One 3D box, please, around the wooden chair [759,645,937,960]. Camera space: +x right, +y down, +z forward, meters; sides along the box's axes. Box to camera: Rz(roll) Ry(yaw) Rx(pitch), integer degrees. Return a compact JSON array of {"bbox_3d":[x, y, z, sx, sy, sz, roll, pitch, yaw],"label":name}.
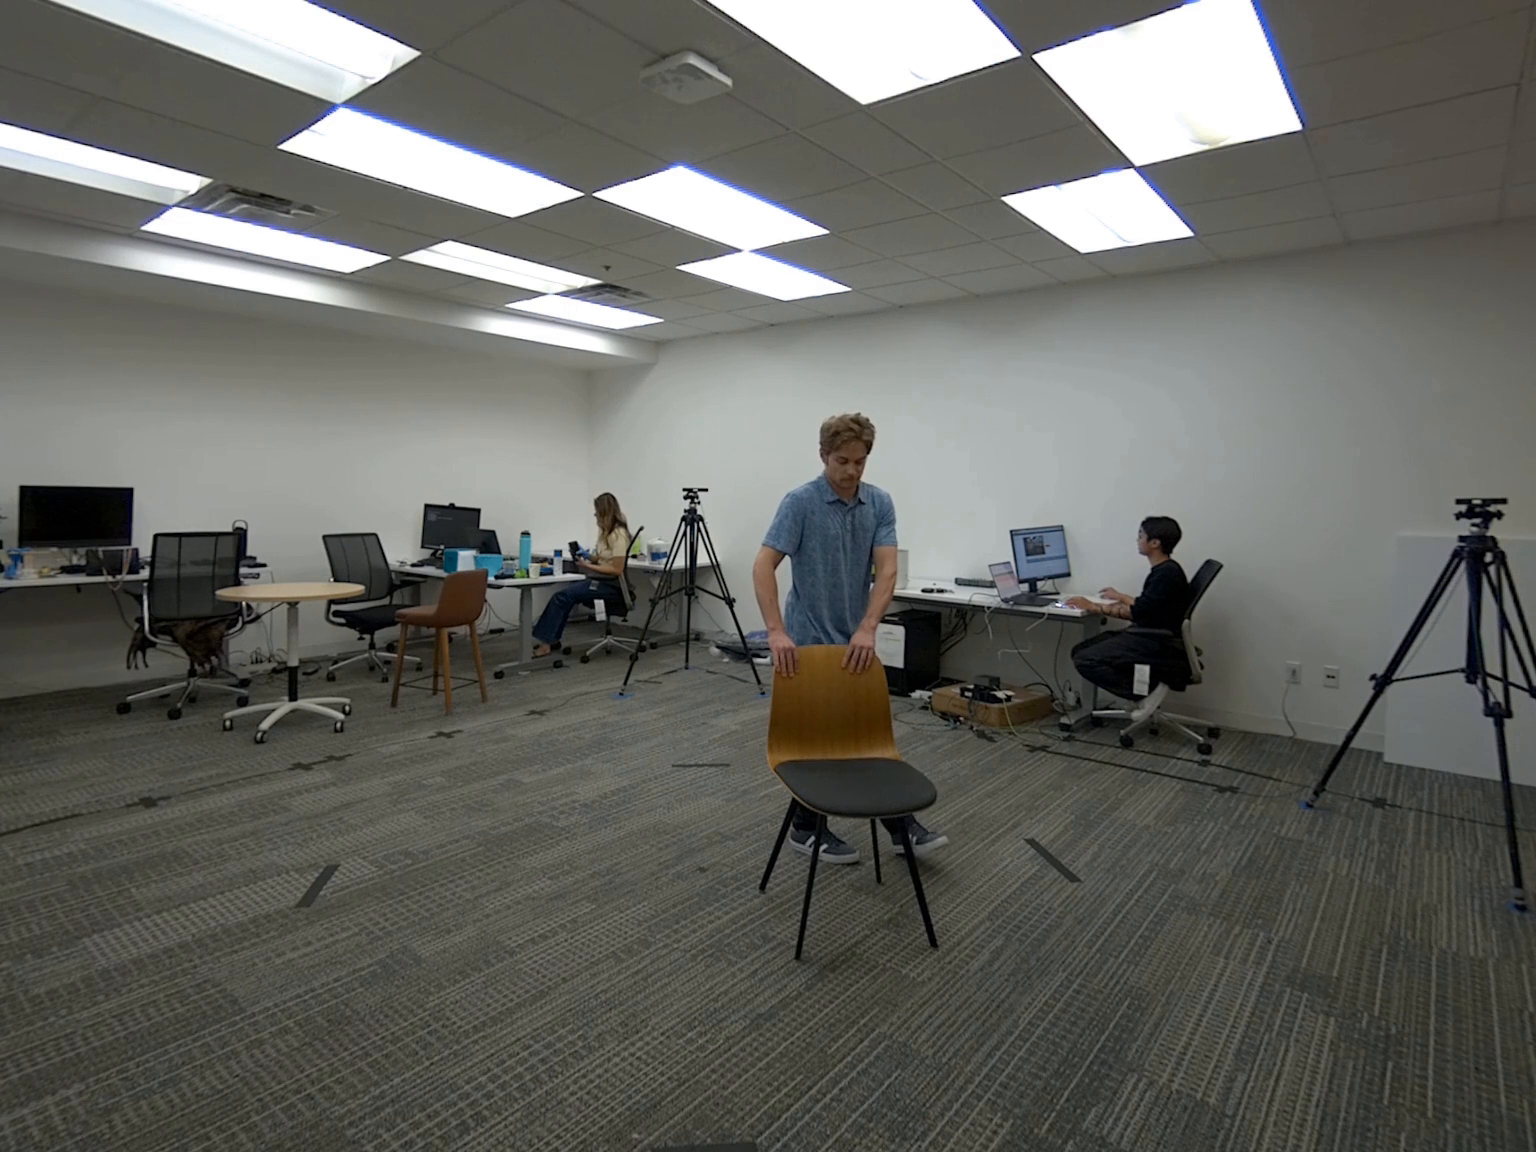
[{"bbox_3d":[0.251,0.687,2.743,0.471,0.878,0.530,1,-1,-14],"label":"wooden chair"}]
